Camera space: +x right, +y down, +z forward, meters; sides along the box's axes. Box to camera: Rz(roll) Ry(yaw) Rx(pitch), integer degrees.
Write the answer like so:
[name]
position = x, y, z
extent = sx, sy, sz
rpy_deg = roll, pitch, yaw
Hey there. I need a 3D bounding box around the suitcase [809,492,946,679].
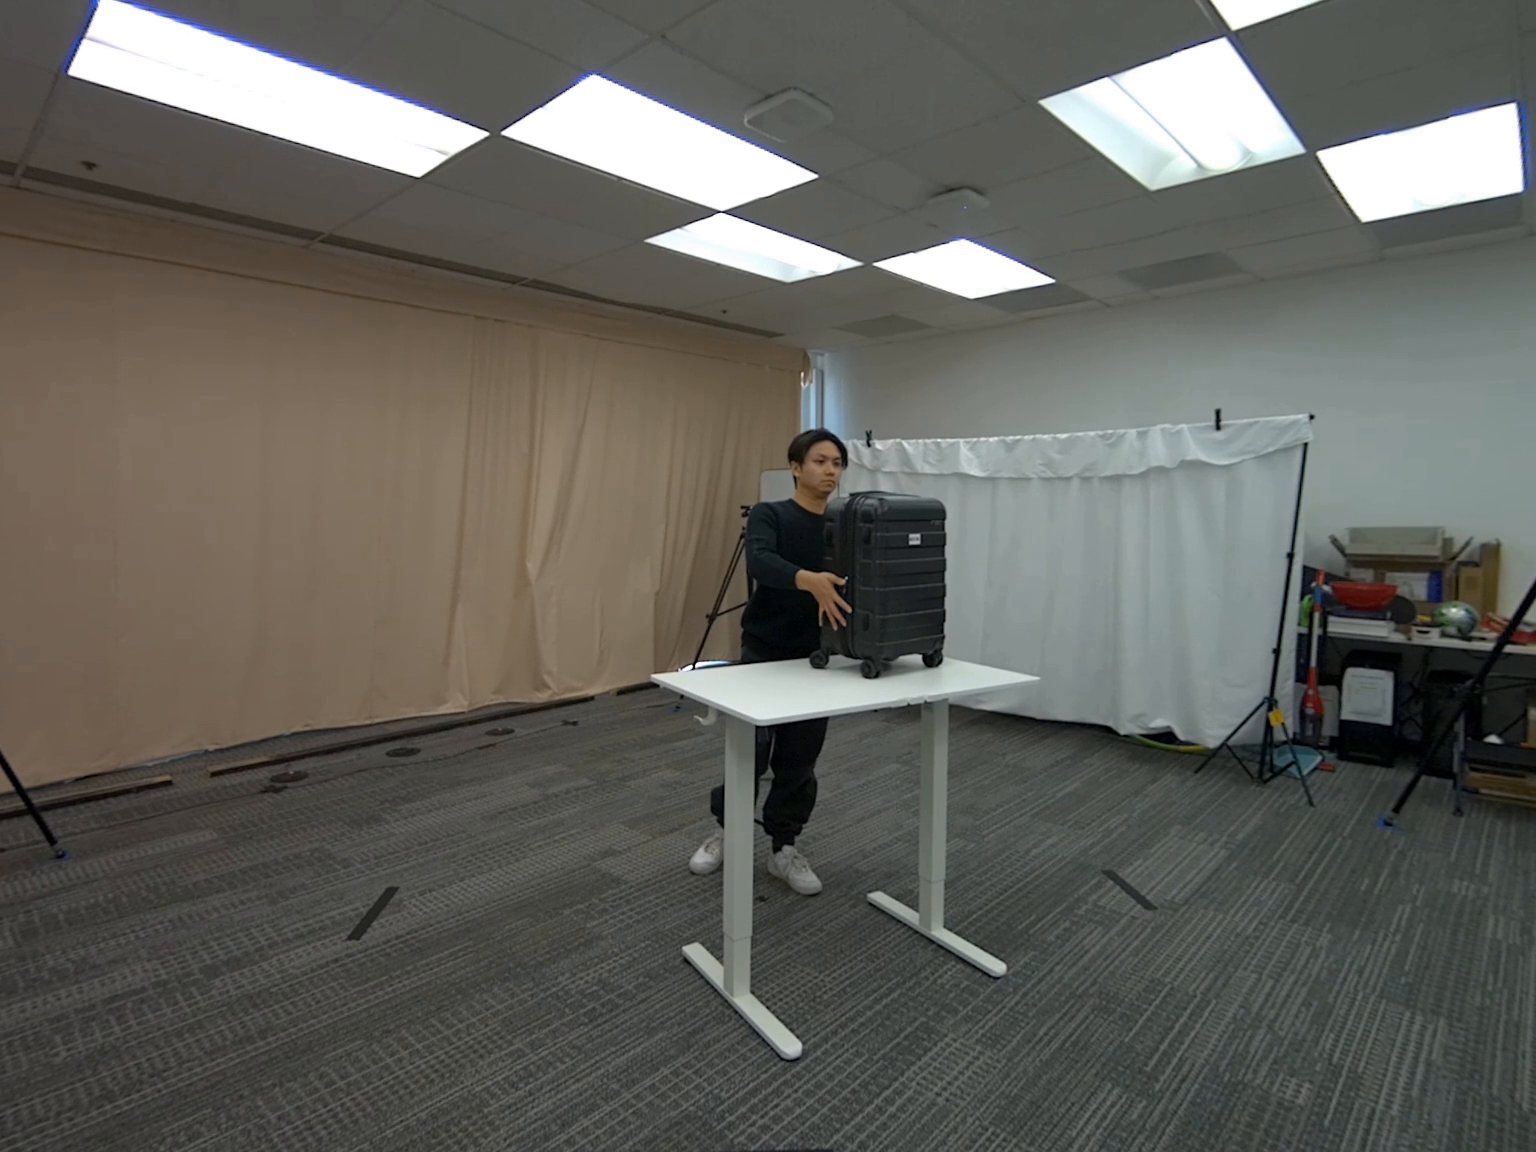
[suitcase]
position = 0.365, 0.013, 2.631
extent = 0.364, 0.548, 0.257
rpy_deg = 0, 5, -41
